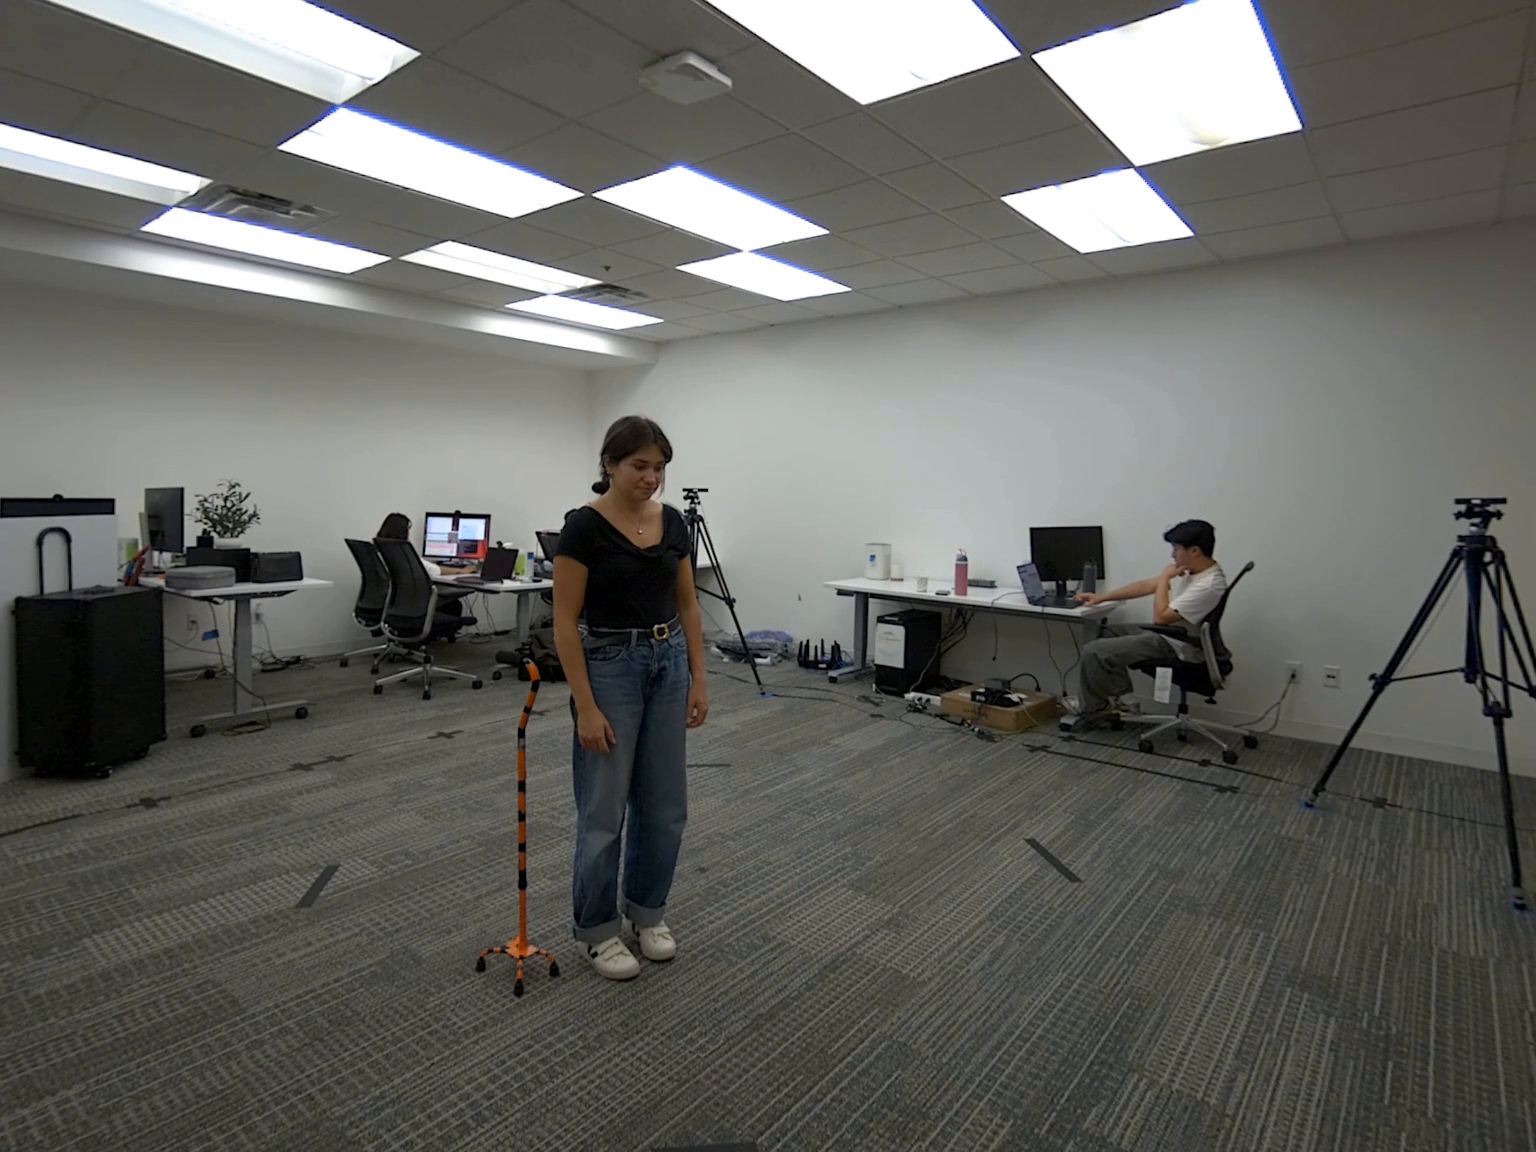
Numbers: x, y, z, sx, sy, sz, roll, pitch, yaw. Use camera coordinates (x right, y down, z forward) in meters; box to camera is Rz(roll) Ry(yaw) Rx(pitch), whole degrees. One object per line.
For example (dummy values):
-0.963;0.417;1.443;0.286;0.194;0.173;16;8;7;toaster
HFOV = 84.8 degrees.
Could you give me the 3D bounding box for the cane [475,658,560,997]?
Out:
-0.718;0.678;2.419;0.213;0.906;0.147;2;3;38;cane
